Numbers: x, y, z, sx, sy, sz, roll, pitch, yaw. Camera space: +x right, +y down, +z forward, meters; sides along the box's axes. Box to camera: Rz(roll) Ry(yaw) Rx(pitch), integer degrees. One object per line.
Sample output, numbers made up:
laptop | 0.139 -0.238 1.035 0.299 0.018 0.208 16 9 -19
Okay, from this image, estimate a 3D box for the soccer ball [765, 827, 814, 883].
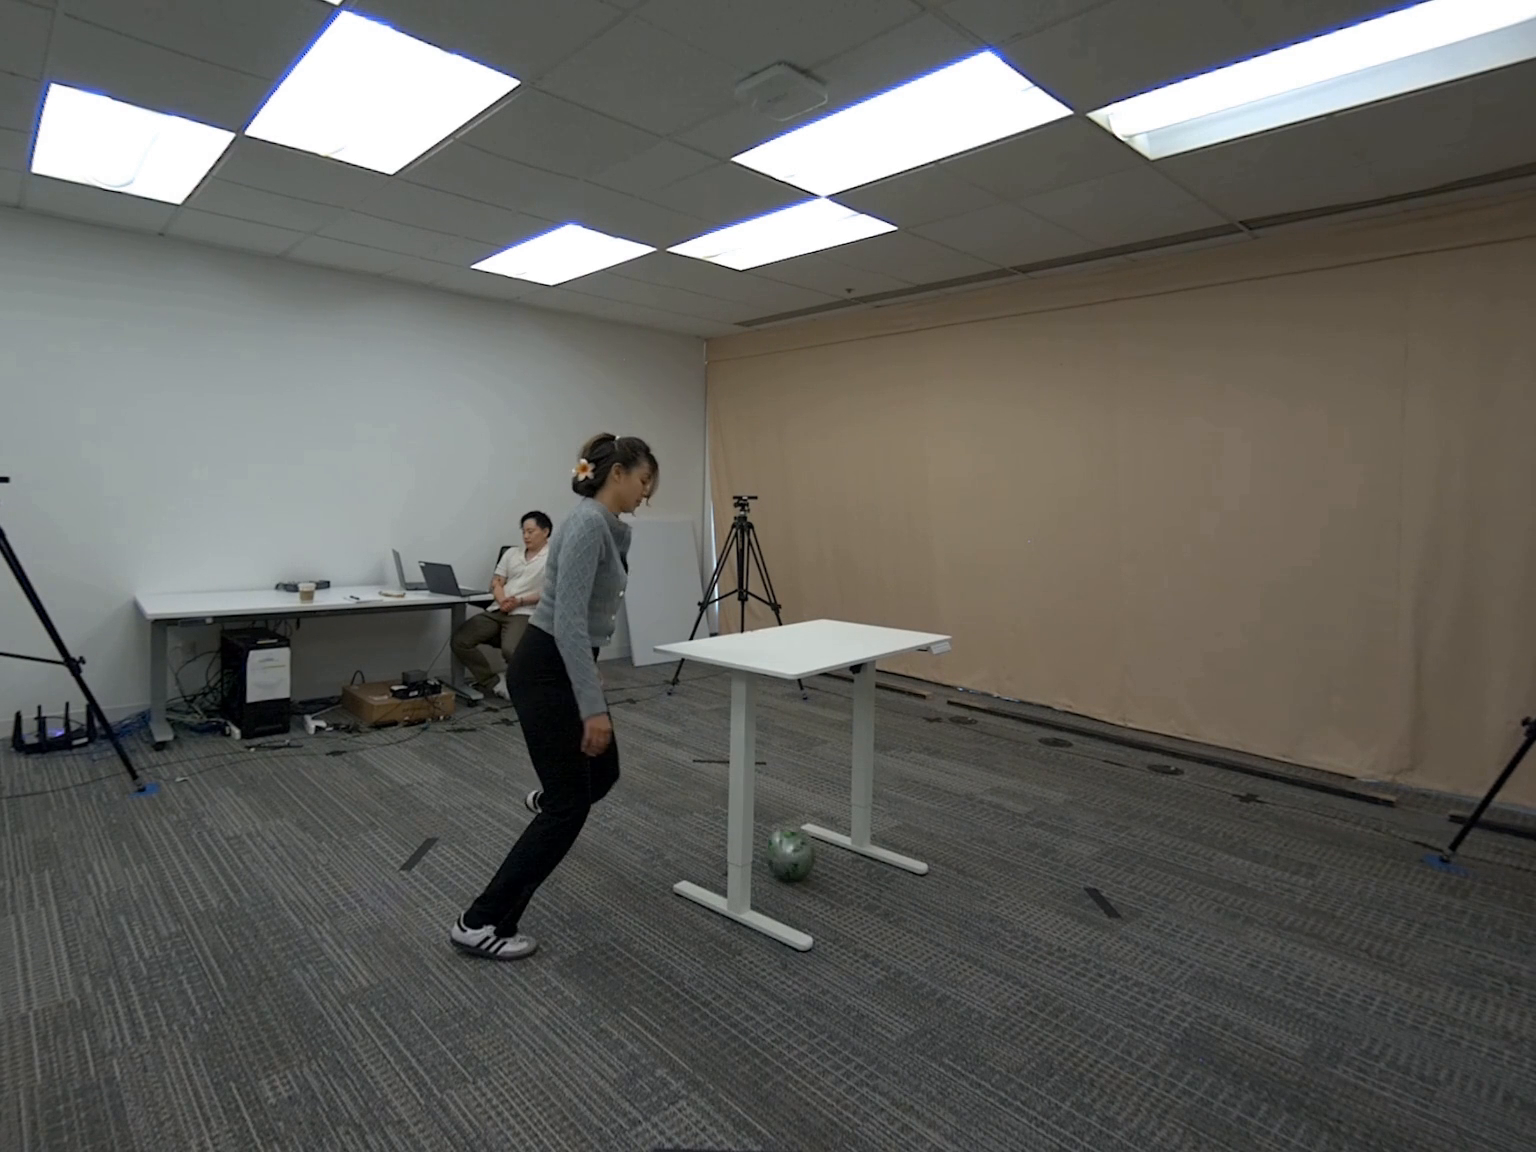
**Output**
soccer ball | 0.069 1.015 3.088 0.187 0.187 0.188 1 4 -1
